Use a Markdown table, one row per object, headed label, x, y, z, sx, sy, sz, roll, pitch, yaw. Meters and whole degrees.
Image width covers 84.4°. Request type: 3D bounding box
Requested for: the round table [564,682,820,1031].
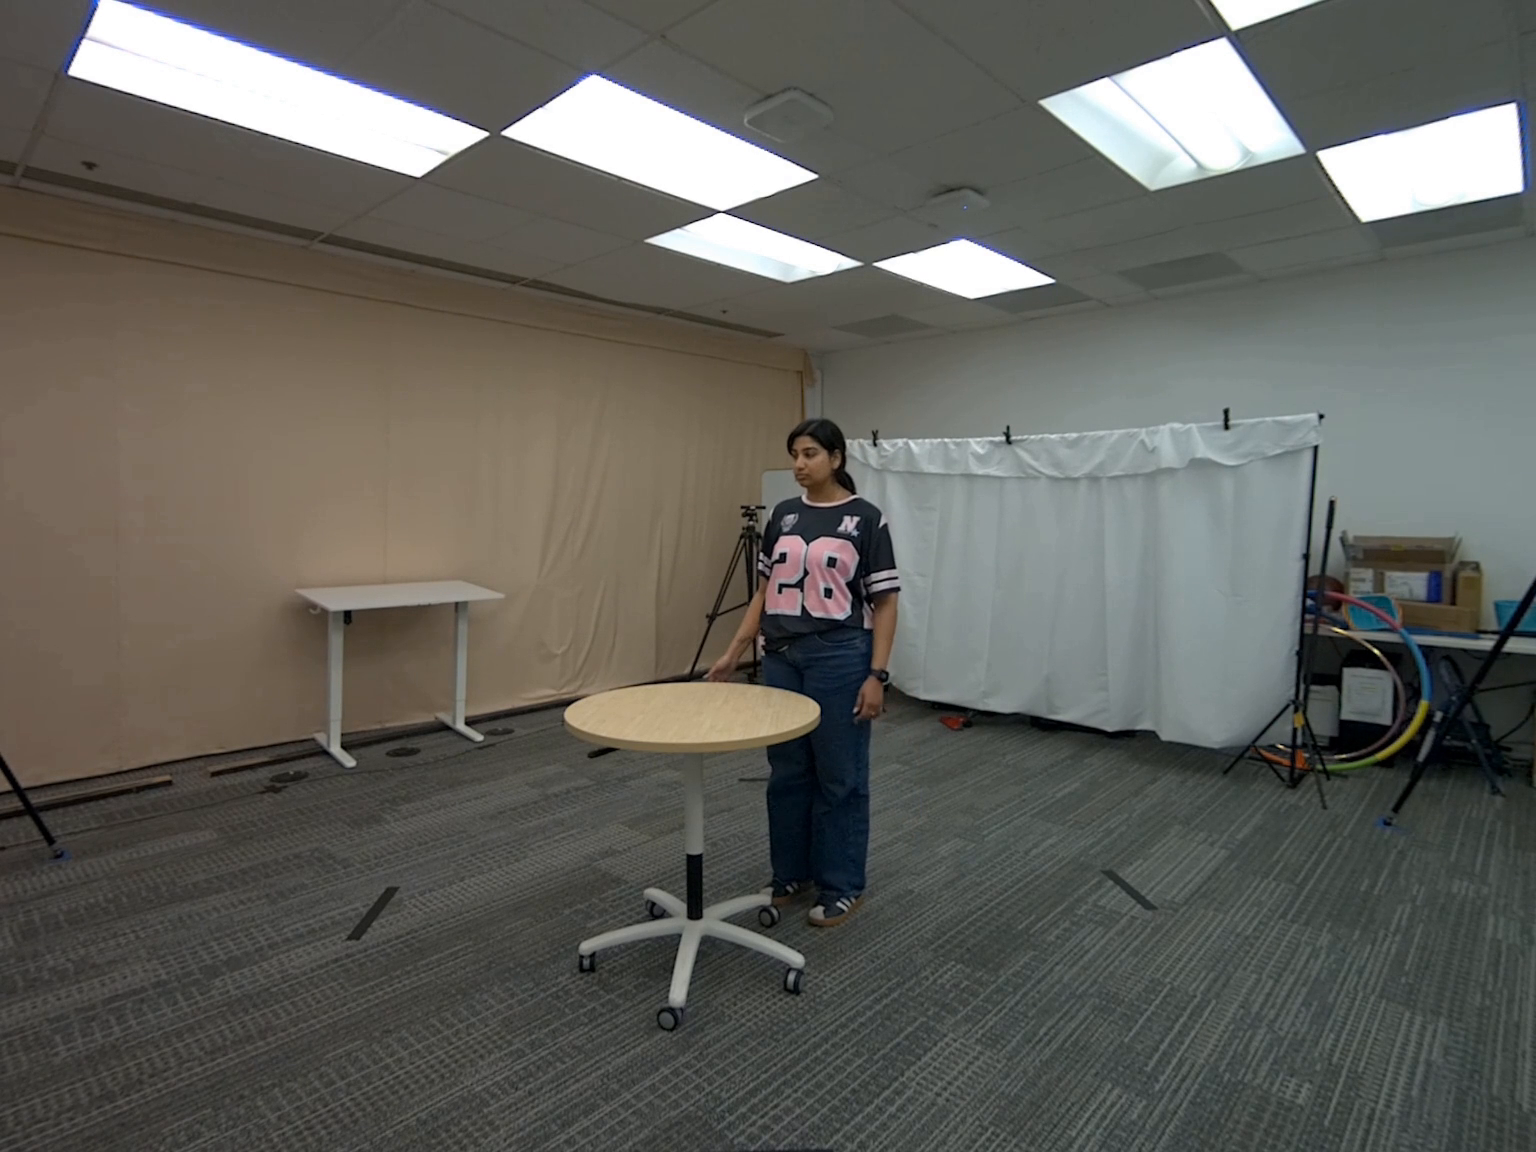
| label | x | y | z | sx | sy | sz | roll | pitch | yaw |
| --- | --- | --- | --- | --- | --- | --- | --- | --- | --- |
| round table | -0.211 | 0.786 | 2.559 | 0.784 | 0.784 | 0.788 | -1 | 4 | -2 |
